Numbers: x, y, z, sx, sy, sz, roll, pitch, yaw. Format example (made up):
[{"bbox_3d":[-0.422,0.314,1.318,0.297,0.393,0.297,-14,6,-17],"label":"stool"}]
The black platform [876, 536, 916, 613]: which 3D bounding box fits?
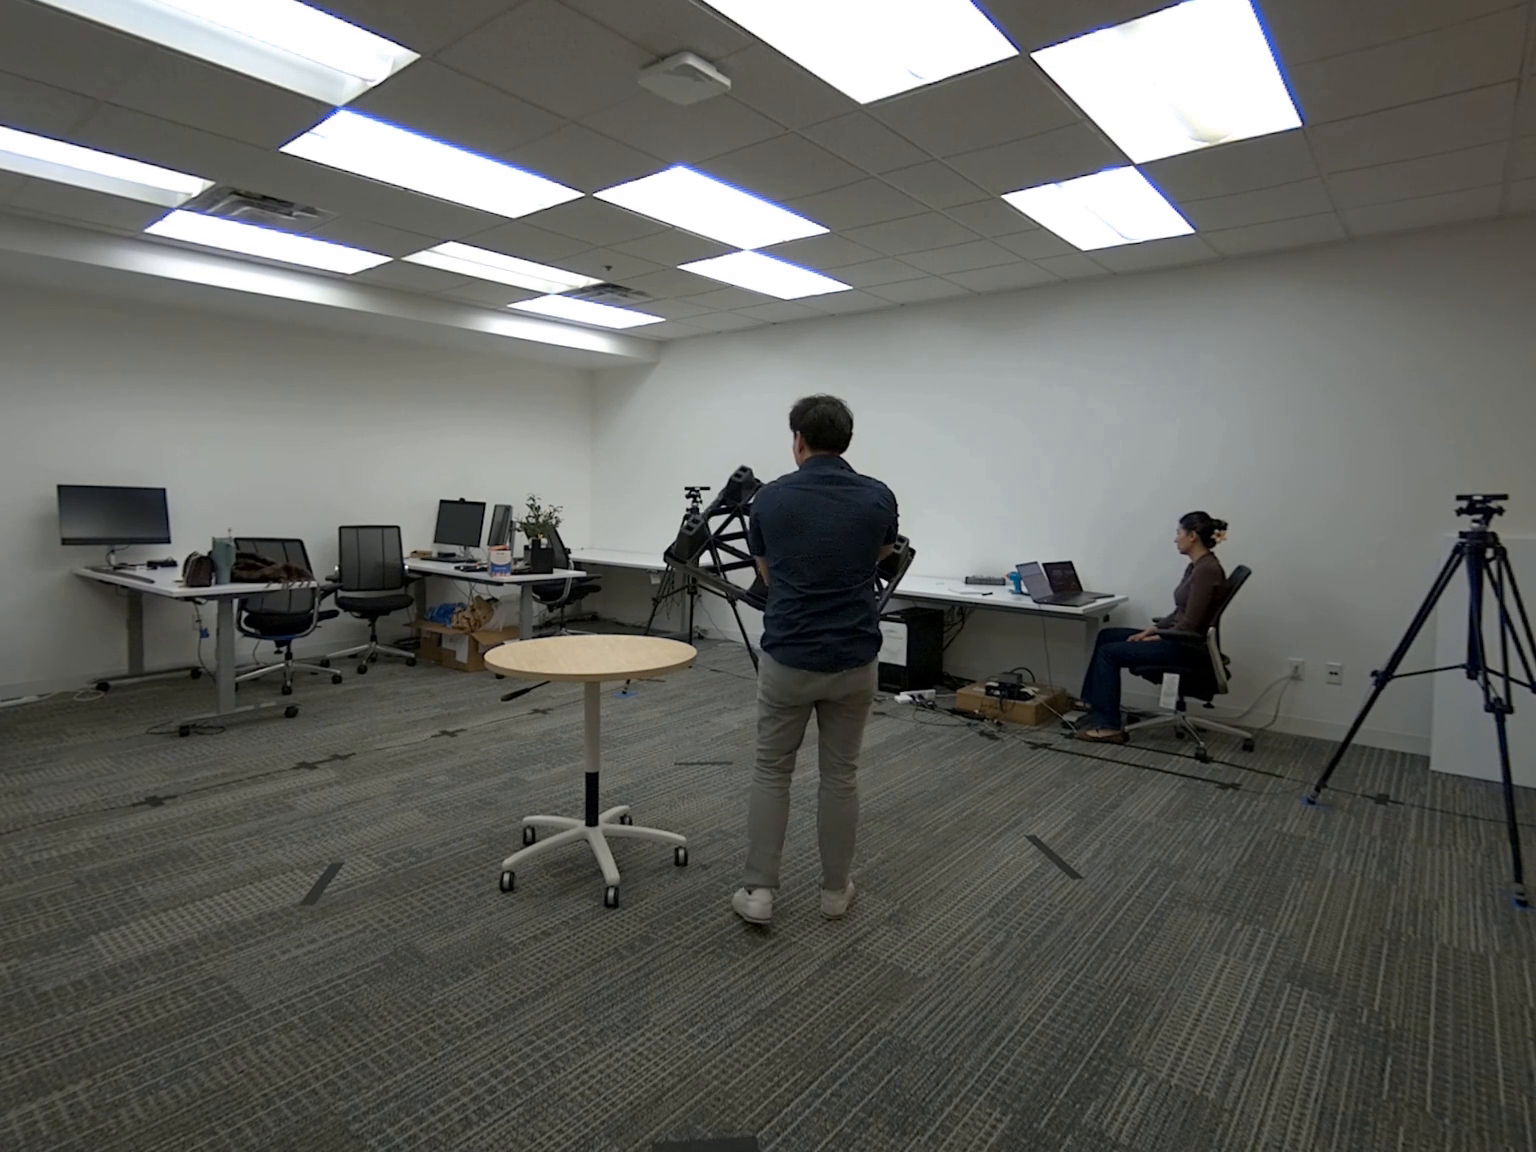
[{"bbox_3d":[0.091,-0.108,3.210,0.825,0.140,0.606,25,49,17],"label":"black platform"}]
